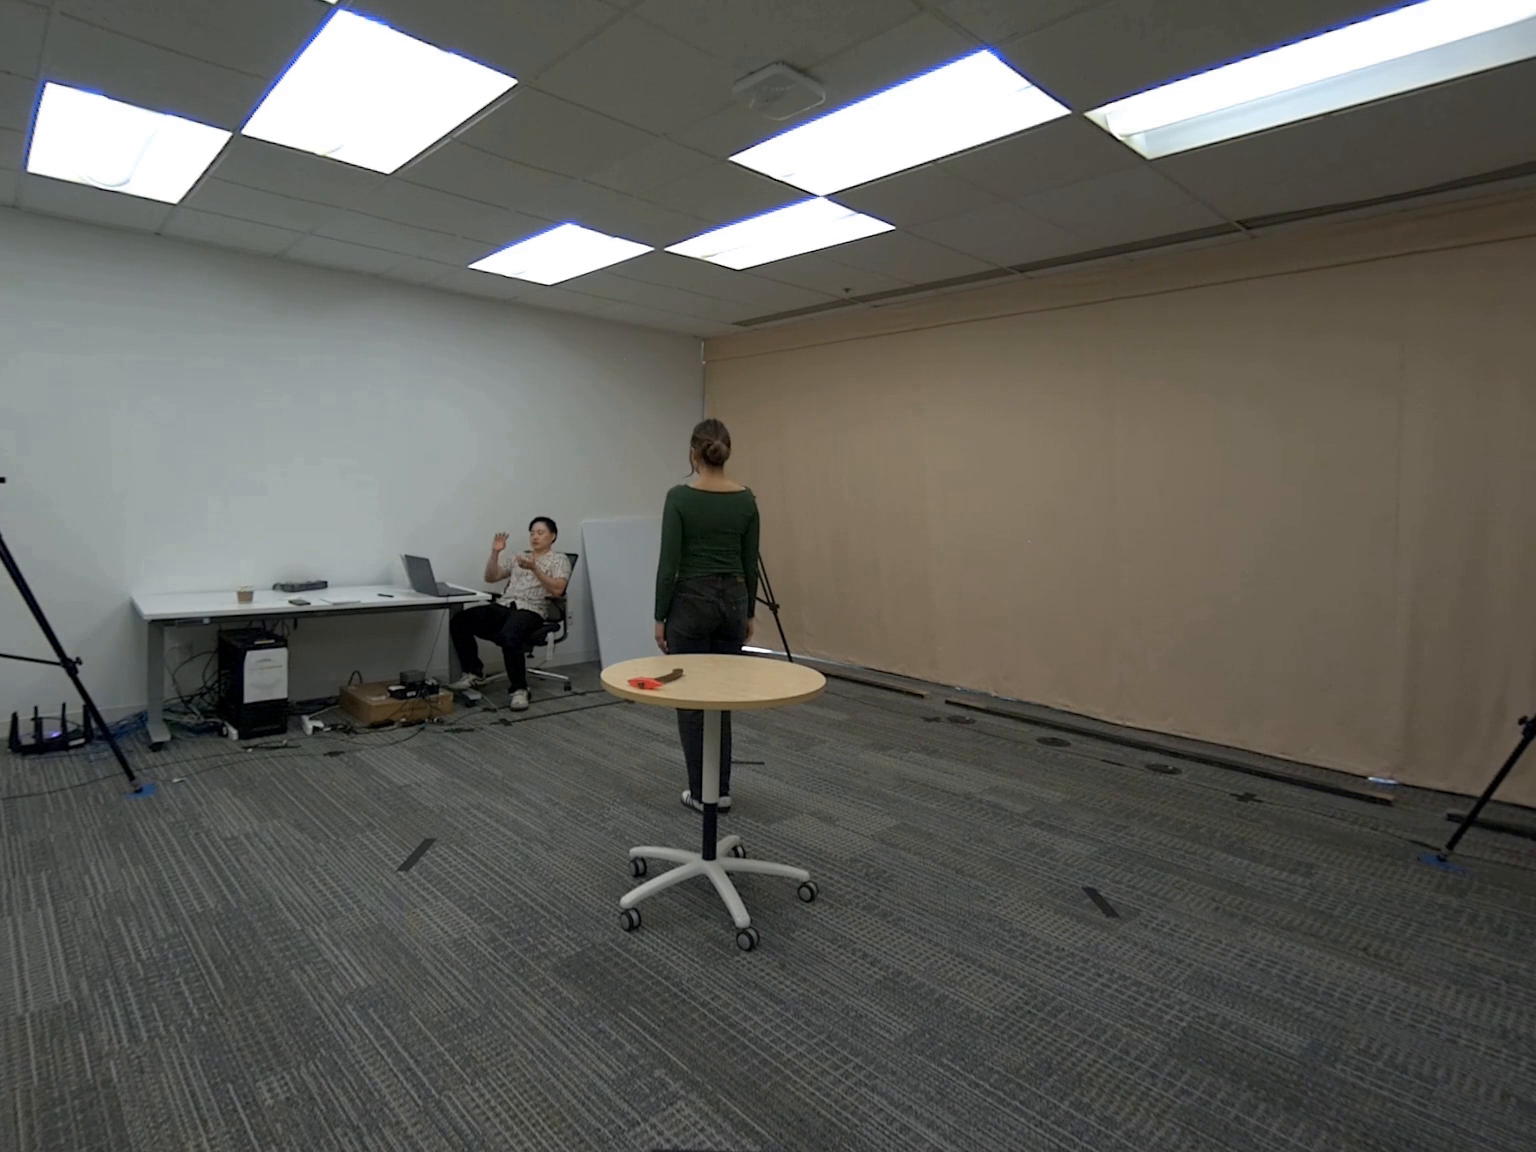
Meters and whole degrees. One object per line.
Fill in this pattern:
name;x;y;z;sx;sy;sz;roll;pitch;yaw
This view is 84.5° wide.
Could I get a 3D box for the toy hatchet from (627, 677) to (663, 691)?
toy hatchet;-0.388;0.335;2.745;0.132;0.029;0.269;0;3;5
